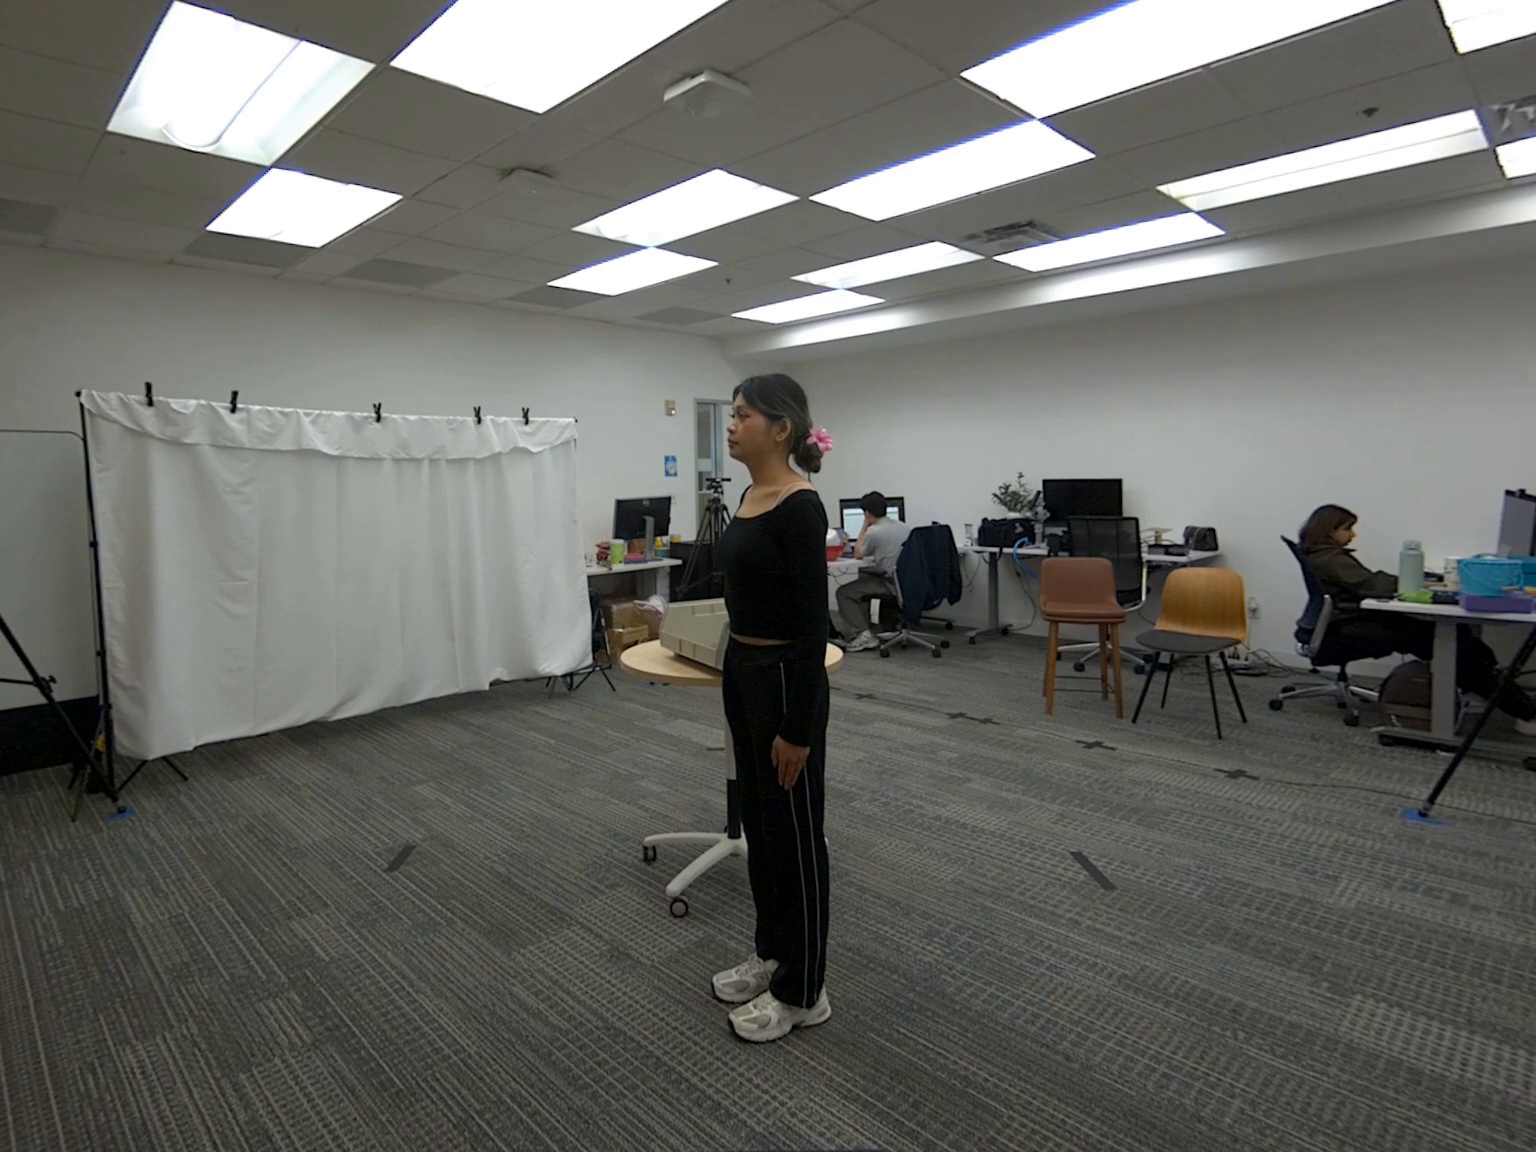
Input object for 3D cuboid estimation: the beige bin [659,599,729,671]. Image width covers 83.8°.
[{"bbox_3d":[-0.101,0.195,2.824,0.368,0.188,0.434,-3,6,-30],"label":"beige bin"}]
